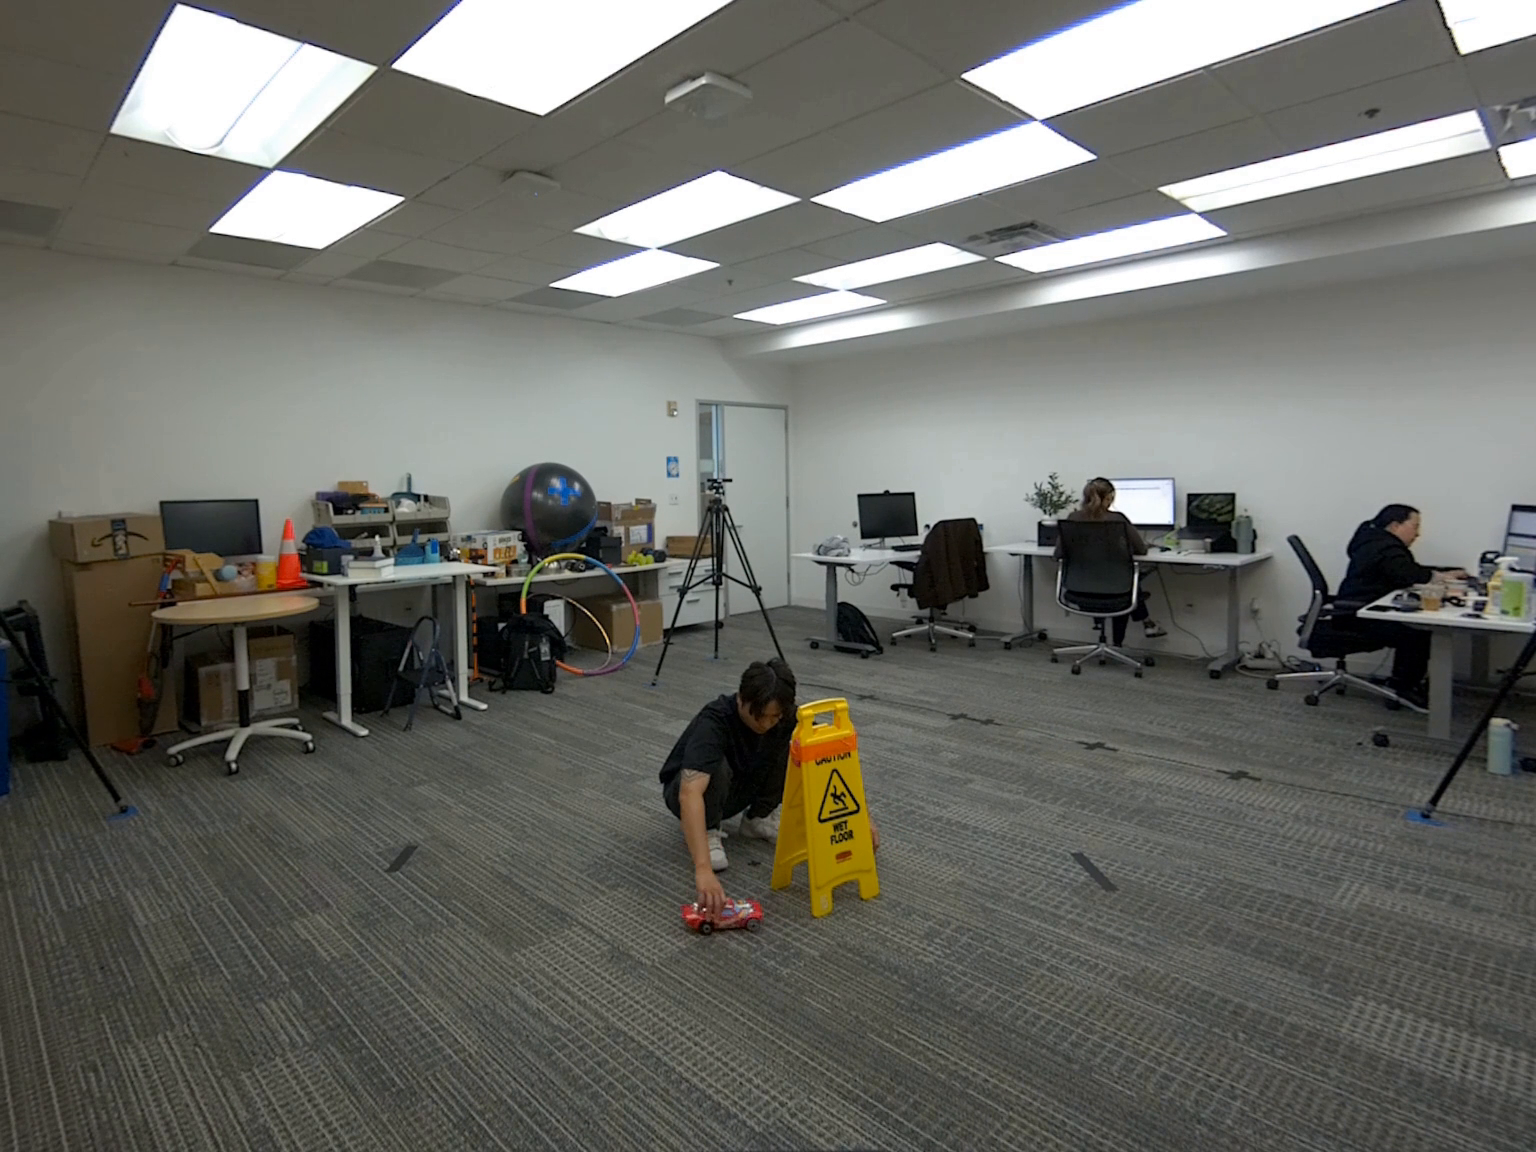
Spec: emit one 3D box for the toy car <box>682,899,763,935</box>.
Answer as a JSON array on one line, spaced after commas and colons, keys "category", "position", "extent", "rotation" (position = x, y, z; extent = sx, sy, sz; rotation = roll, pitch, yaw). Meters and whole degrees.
[{"category": "toy car", "position": [-0.159, 1.062, 2.689], "extent": [0.252, 0.083, 0.132], "rotation": [8, 4, -8]}]
